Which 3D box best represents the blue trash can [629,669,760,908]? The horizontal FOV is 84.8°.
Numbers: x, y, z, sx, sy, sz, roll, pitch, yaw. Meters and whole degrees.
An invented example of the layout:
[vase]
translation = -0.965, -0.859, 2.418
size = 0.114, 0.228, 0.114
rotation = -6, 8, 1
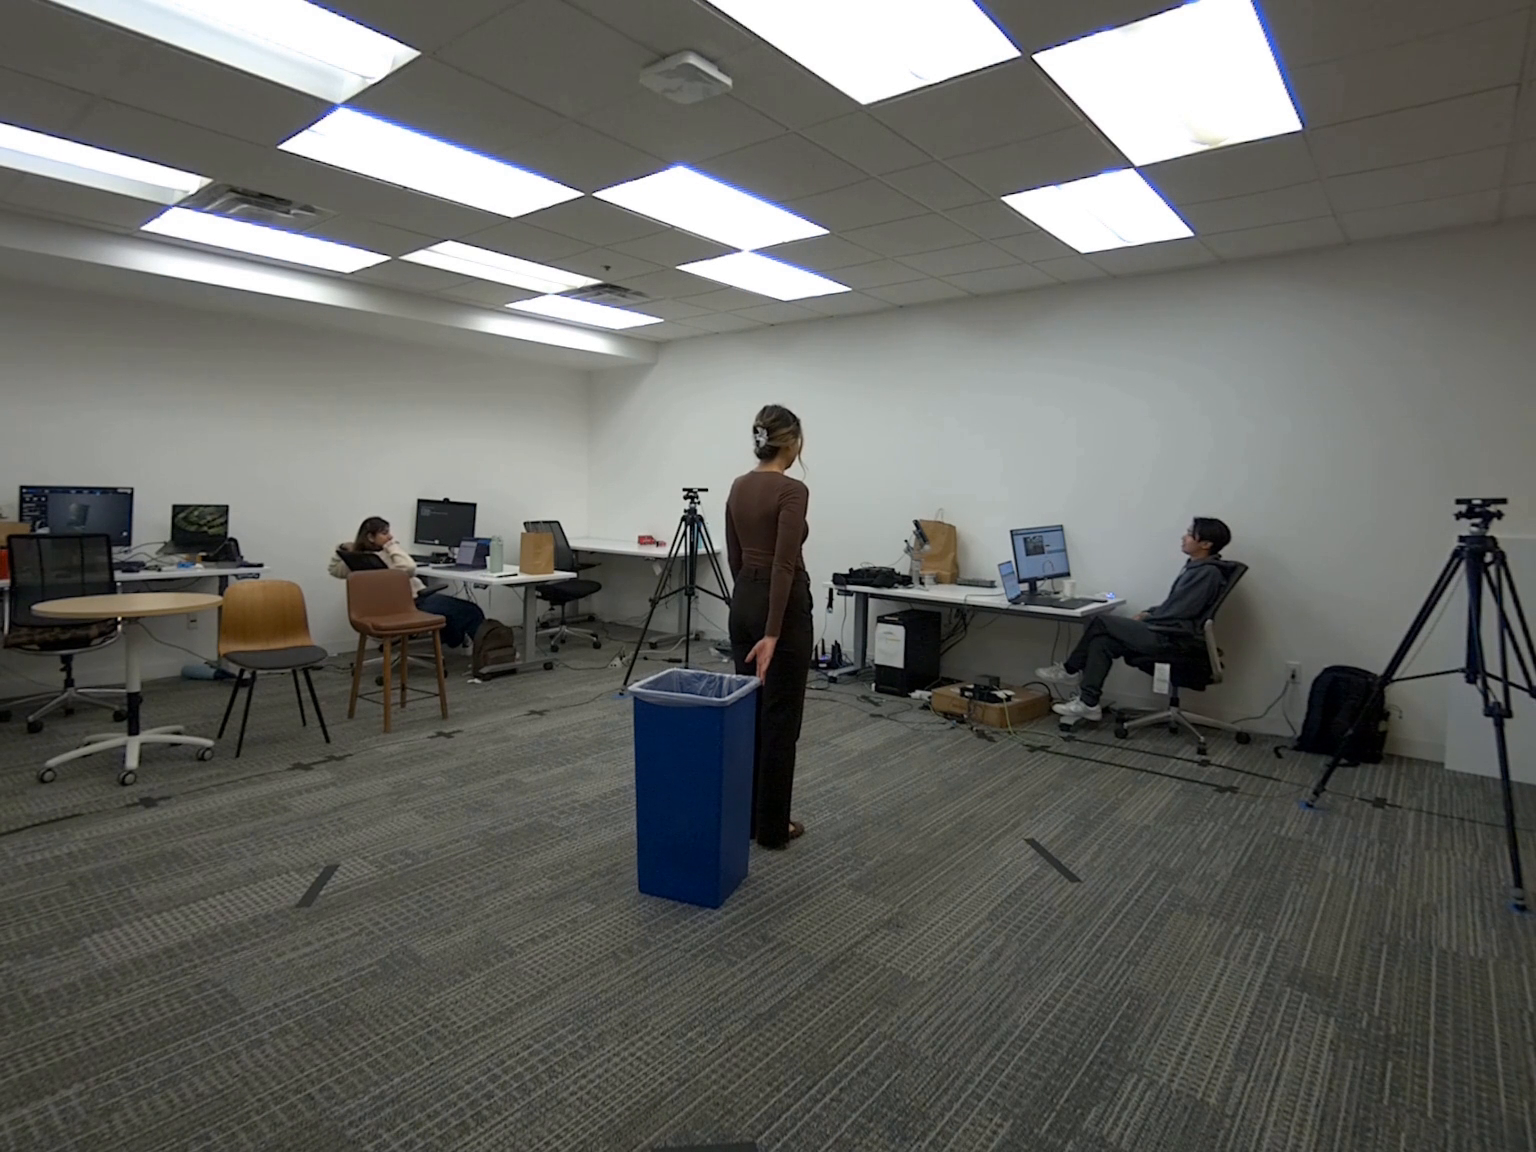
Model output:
[blue trash can]
translation = -0.260, 0.721, 2.986
size = 0.382, 0.712, 0.371
rotation = 1, 3, 20
